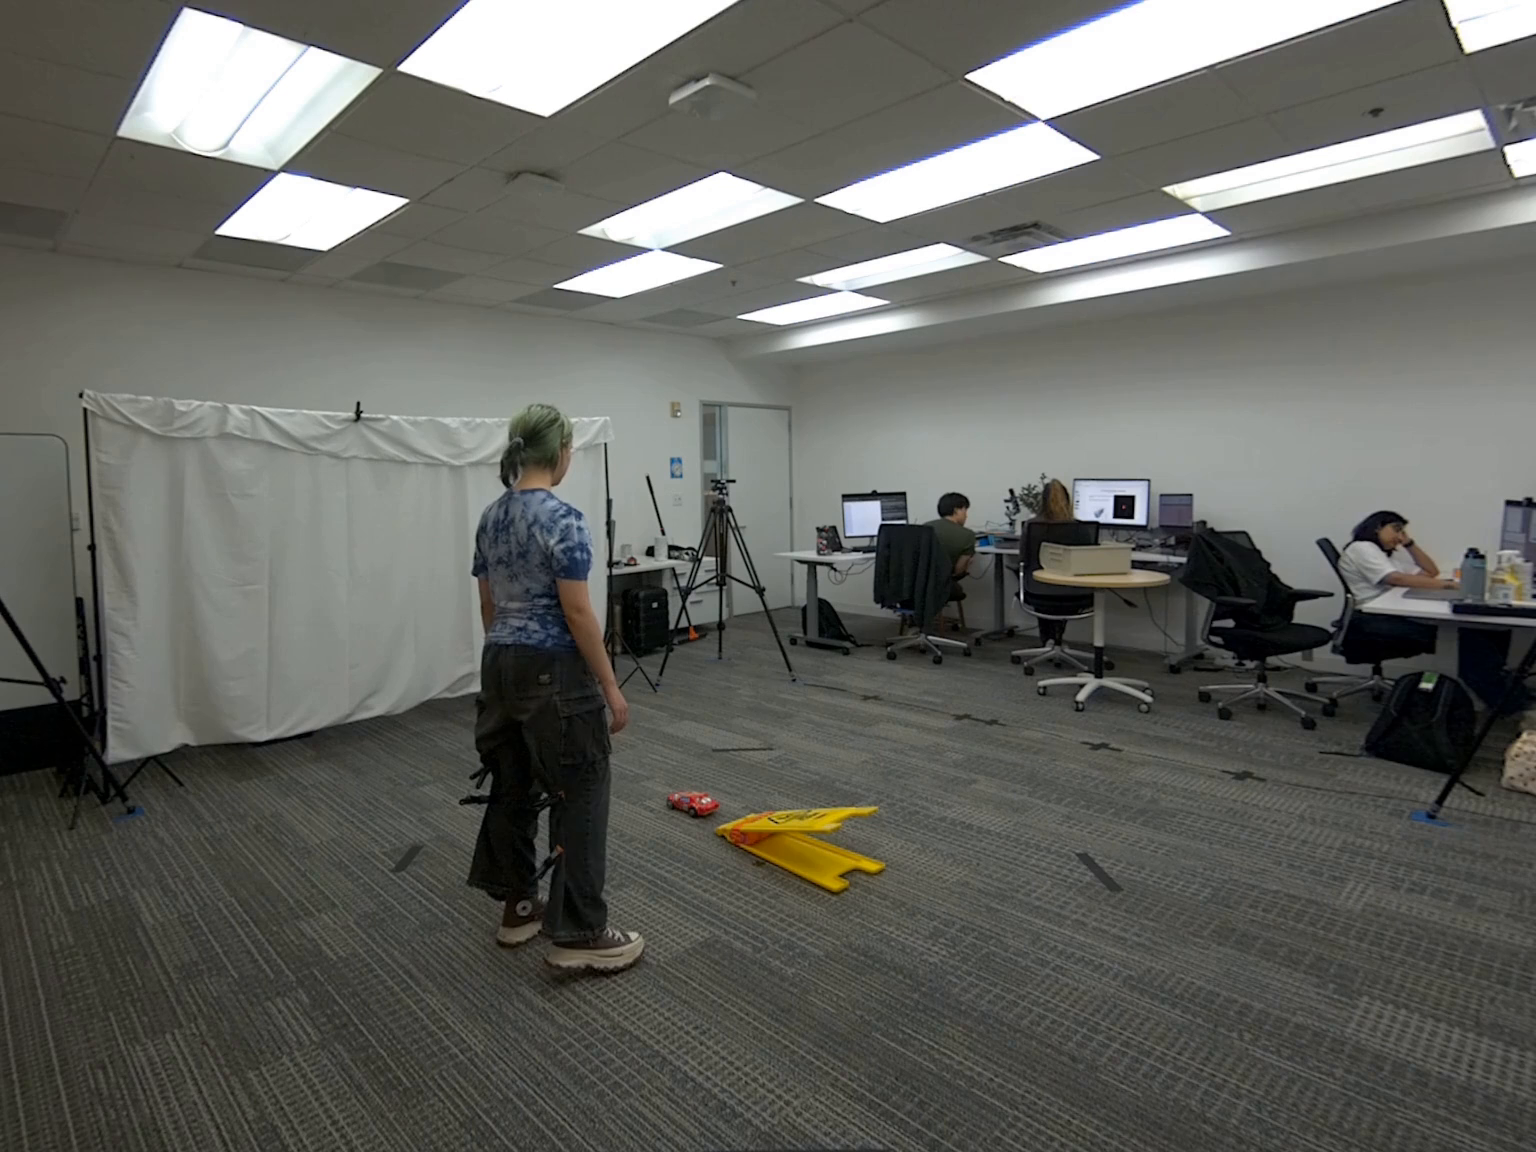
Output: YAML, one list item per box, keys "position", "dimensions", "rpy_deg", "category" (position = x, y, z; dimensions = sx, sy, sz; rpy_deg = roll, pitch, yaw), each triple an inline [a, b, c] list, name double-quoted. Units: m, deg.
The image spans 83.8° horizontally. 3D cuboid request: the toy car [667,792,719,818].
- position: [-0.317, 0.963, 3.615]
  dimensions: [0.260, 0.083, 0.127]
  rpy_deg: [-11, -4, 44]
  category: "toy car"
